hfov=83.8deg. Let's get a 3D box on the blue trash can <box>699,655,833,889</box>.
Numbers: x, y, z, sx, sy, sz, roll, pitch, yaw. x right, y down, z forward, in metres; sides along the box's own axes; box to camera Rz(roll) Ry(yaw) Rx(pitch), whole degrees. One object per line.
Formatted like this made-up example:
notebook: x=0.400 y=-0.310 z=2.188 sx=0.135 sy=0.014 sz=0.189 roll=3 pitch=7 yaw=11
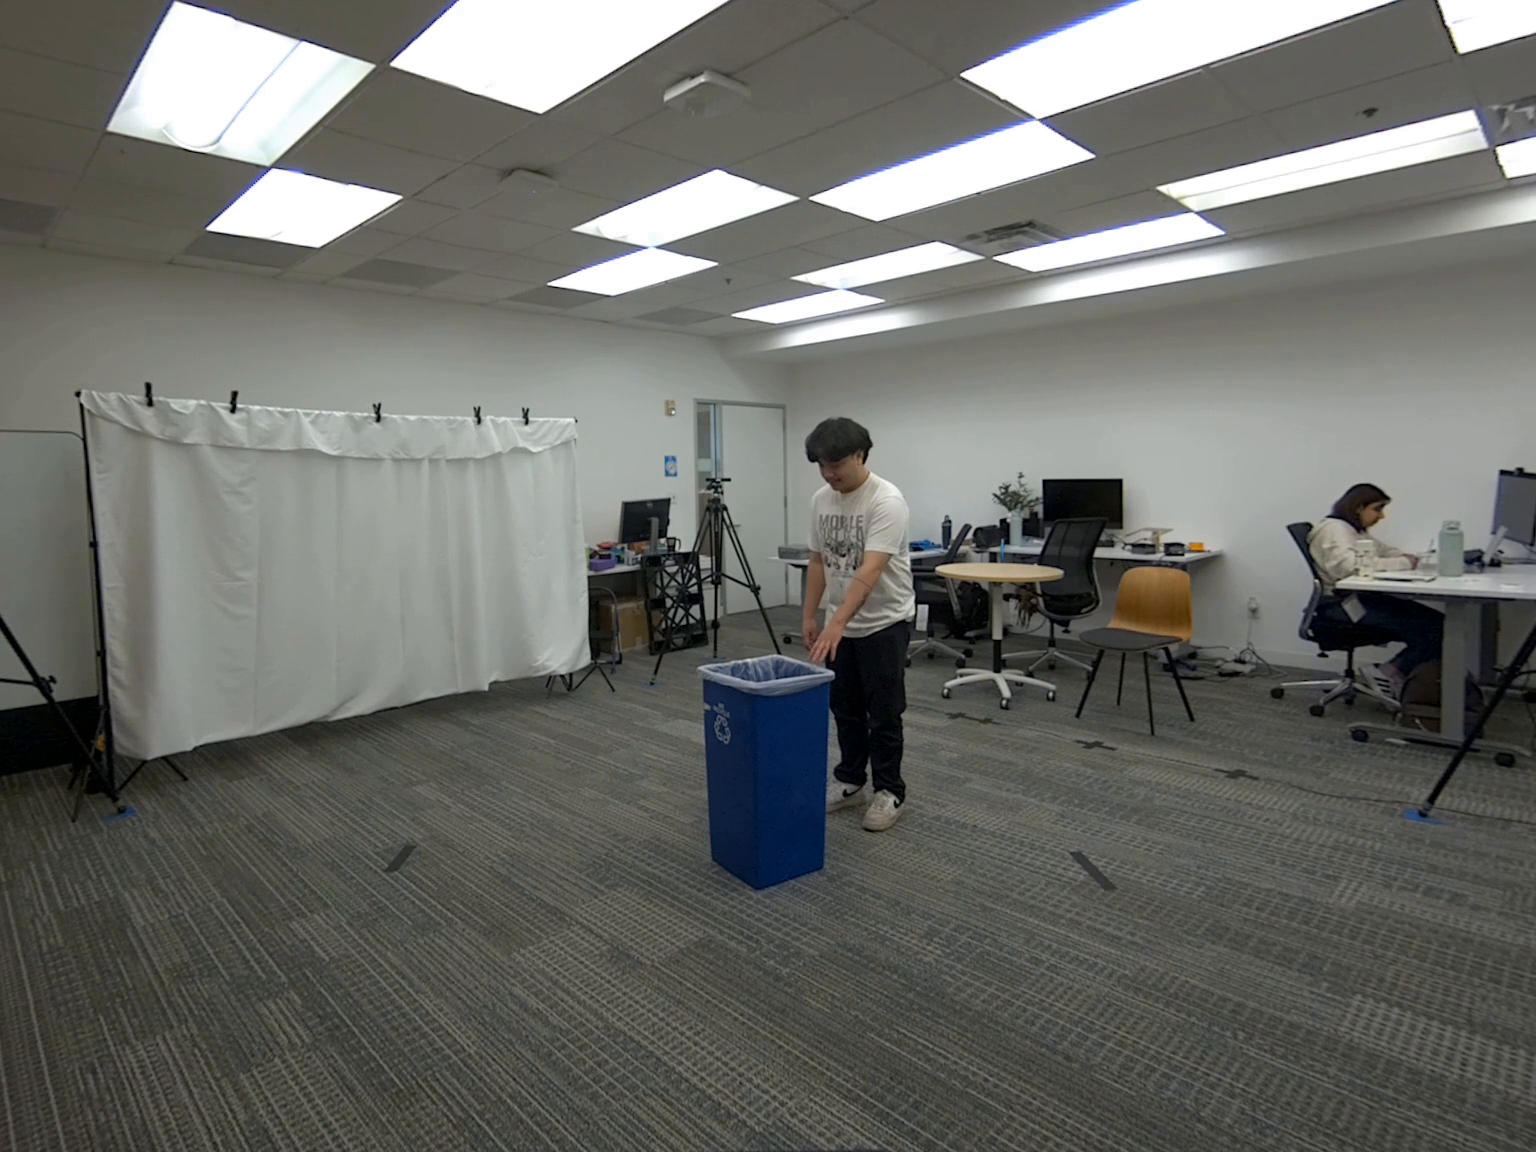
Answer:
blue trash can: x=0.000 y=0.686 z=3.069 sx=0.368 sy=0.711 sz=0.385 roll=-4 pitch=5 yaw=-35
